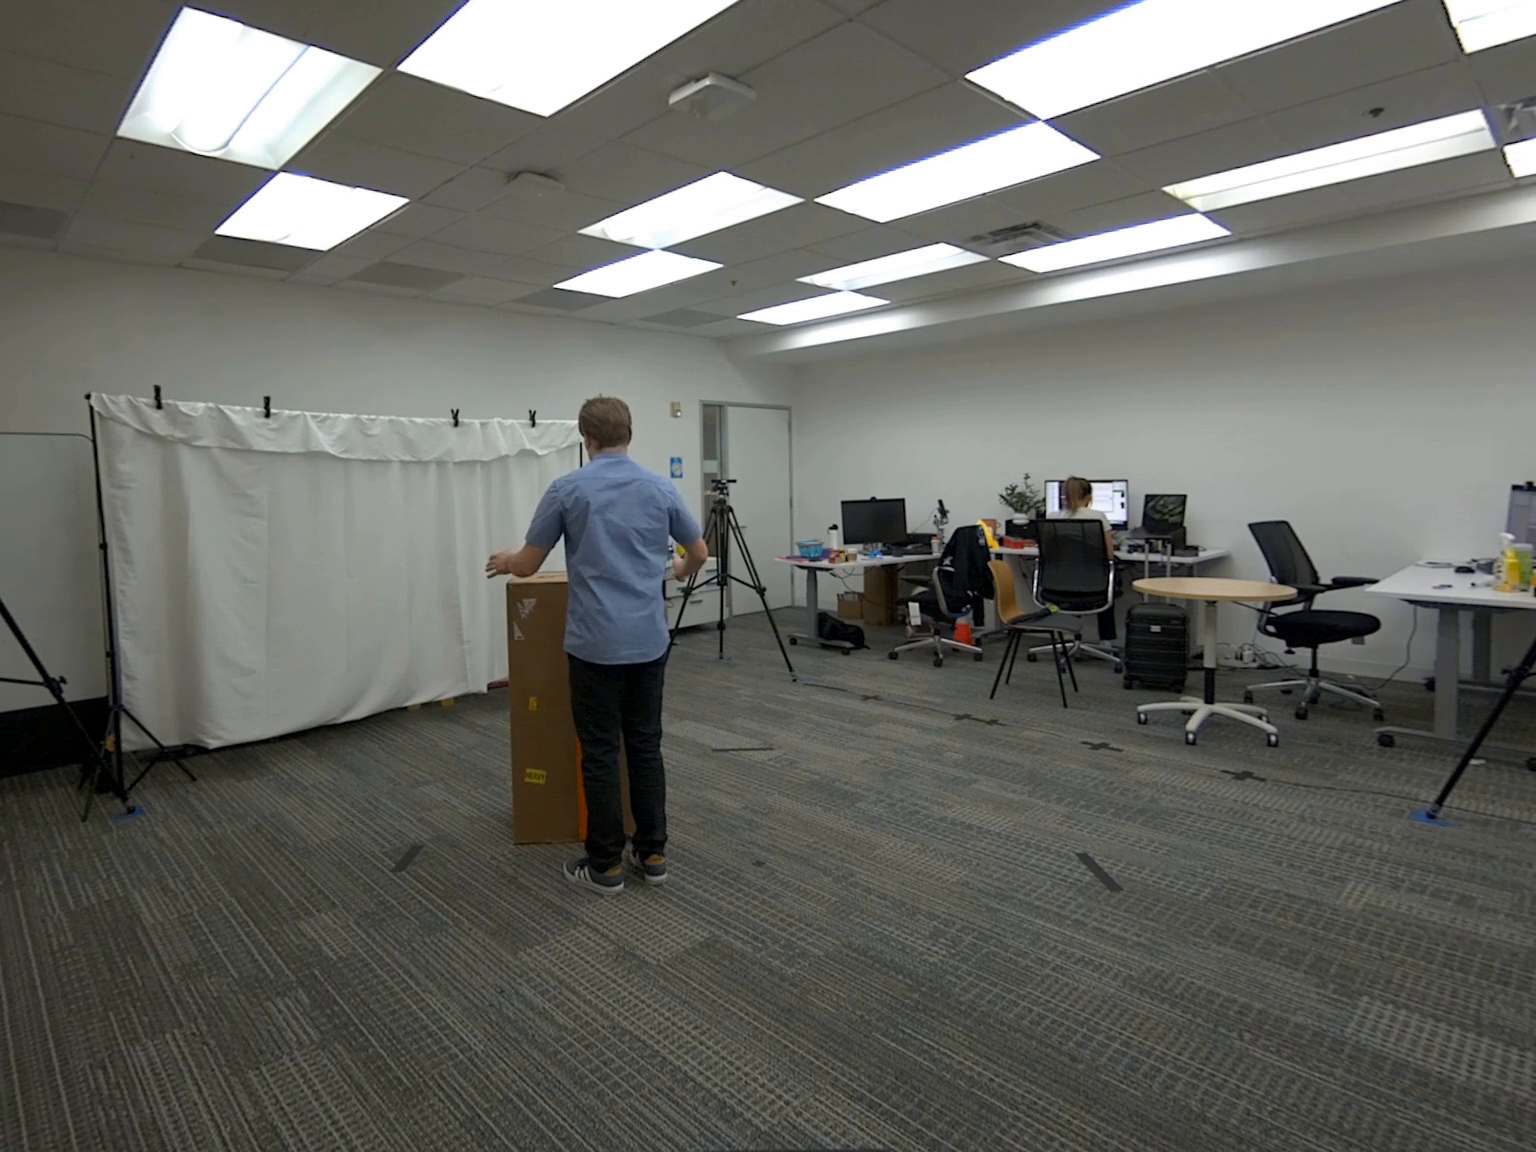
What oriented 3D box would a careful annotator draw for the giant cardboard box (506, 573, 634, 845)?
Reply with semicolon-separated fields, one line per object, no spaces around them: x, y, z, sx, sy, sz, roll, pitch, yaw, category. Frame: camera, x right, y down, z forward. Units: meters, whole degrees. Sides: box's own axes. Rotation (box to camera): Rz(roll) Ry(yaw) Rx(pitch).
-0.748;0.505;3.524;0.574;1.023;0.430;-1;3;-7;giant cardboard box
